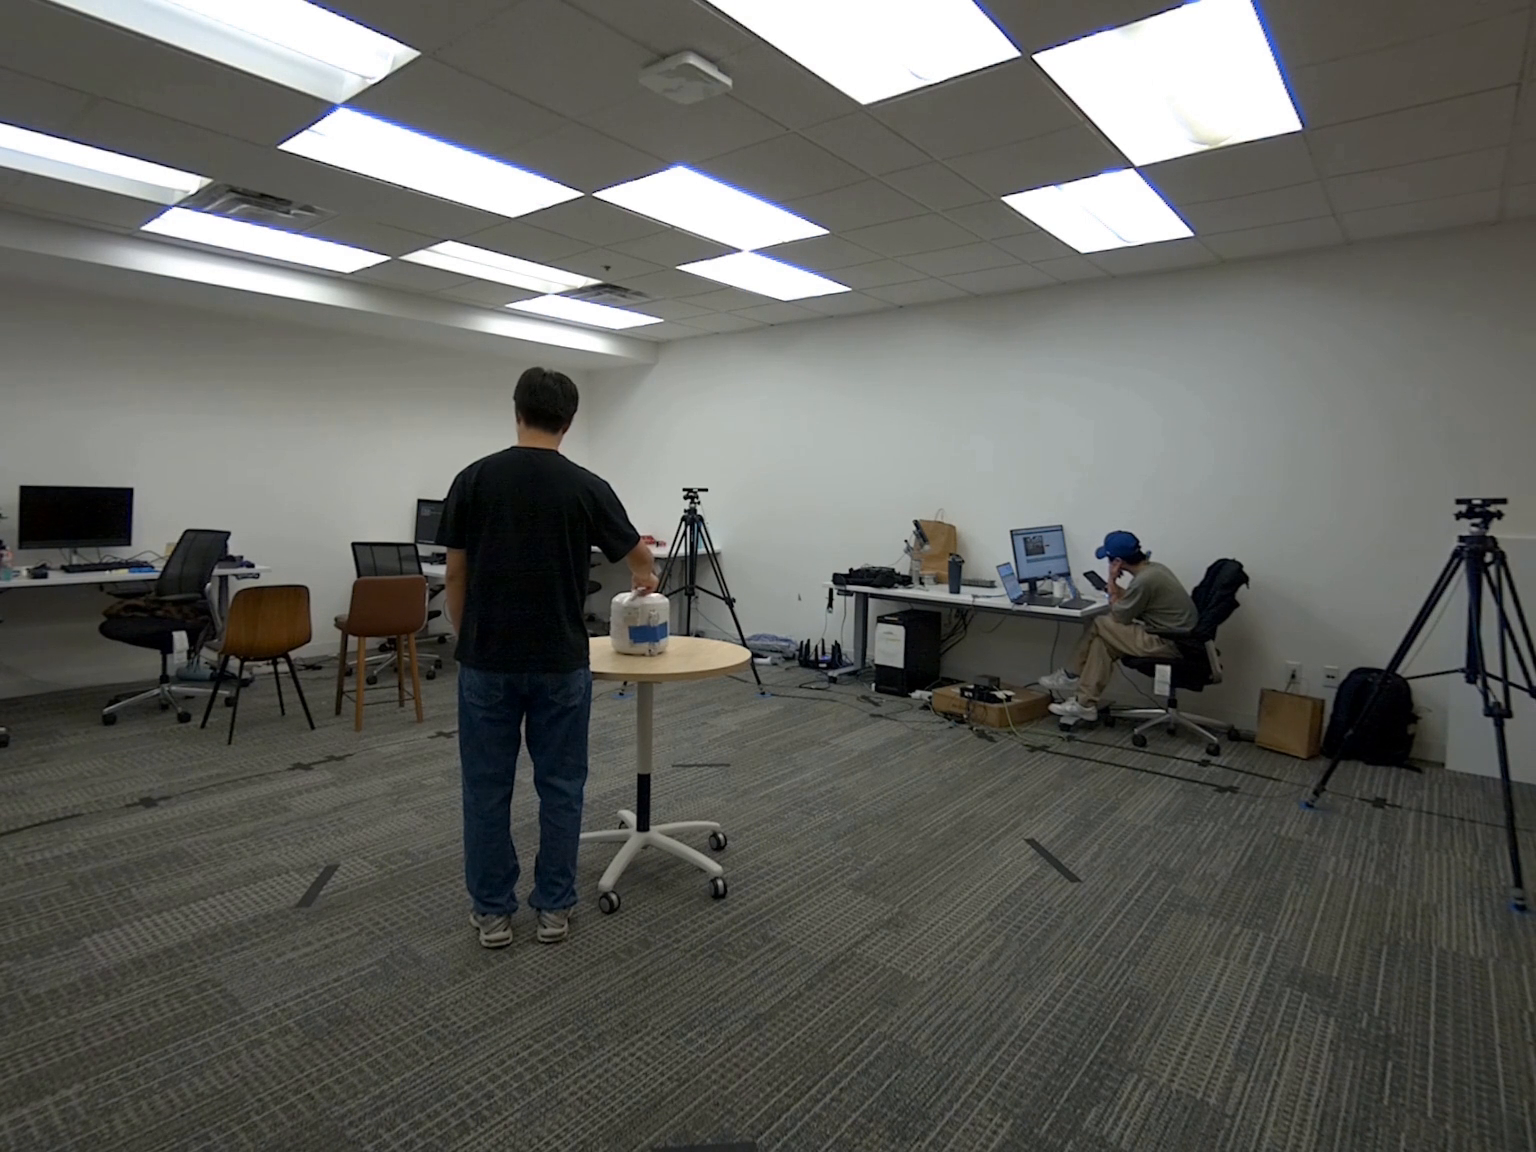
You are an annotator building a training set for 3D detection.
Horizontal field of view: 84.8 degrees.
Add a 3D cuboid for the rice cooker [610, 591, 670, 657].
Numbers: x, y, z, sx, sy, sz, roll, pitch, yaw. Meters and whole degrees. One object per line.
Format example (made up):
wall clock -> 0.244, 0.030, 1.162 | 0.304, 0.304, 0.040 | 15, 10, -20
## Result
rice cooker -> -0.474, 0.156, 3.083 | 0.221, 0.232, 0.218 | 2, 4, 14
